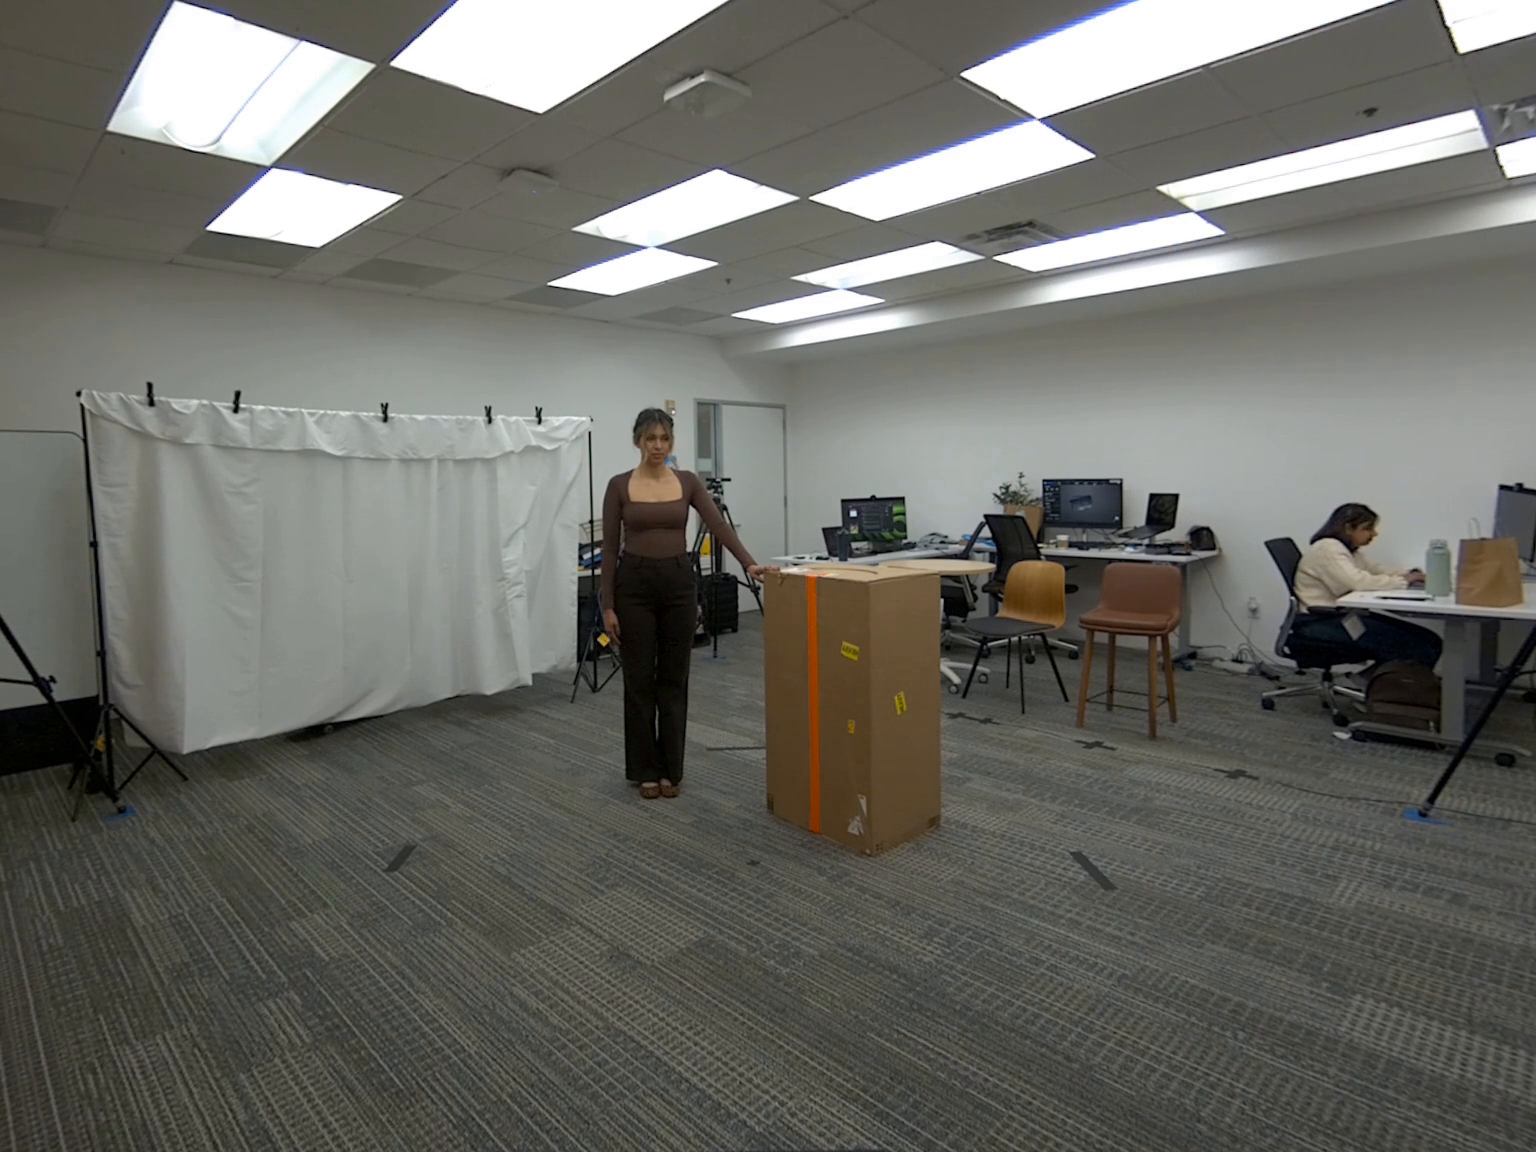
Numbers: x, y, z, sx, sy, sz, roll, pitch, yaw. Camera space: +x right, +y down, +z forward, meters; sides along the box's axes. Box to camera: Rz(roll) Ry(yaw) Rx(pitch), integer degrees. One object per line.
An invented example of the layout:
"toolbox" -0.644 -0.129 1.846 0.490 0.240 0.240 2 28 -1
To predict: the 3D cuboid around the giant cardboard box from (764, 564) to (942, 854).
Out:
"giant cardboard box" 0.335 0.486 3.456 0.435 1.023 0.602 -5 6 -39
